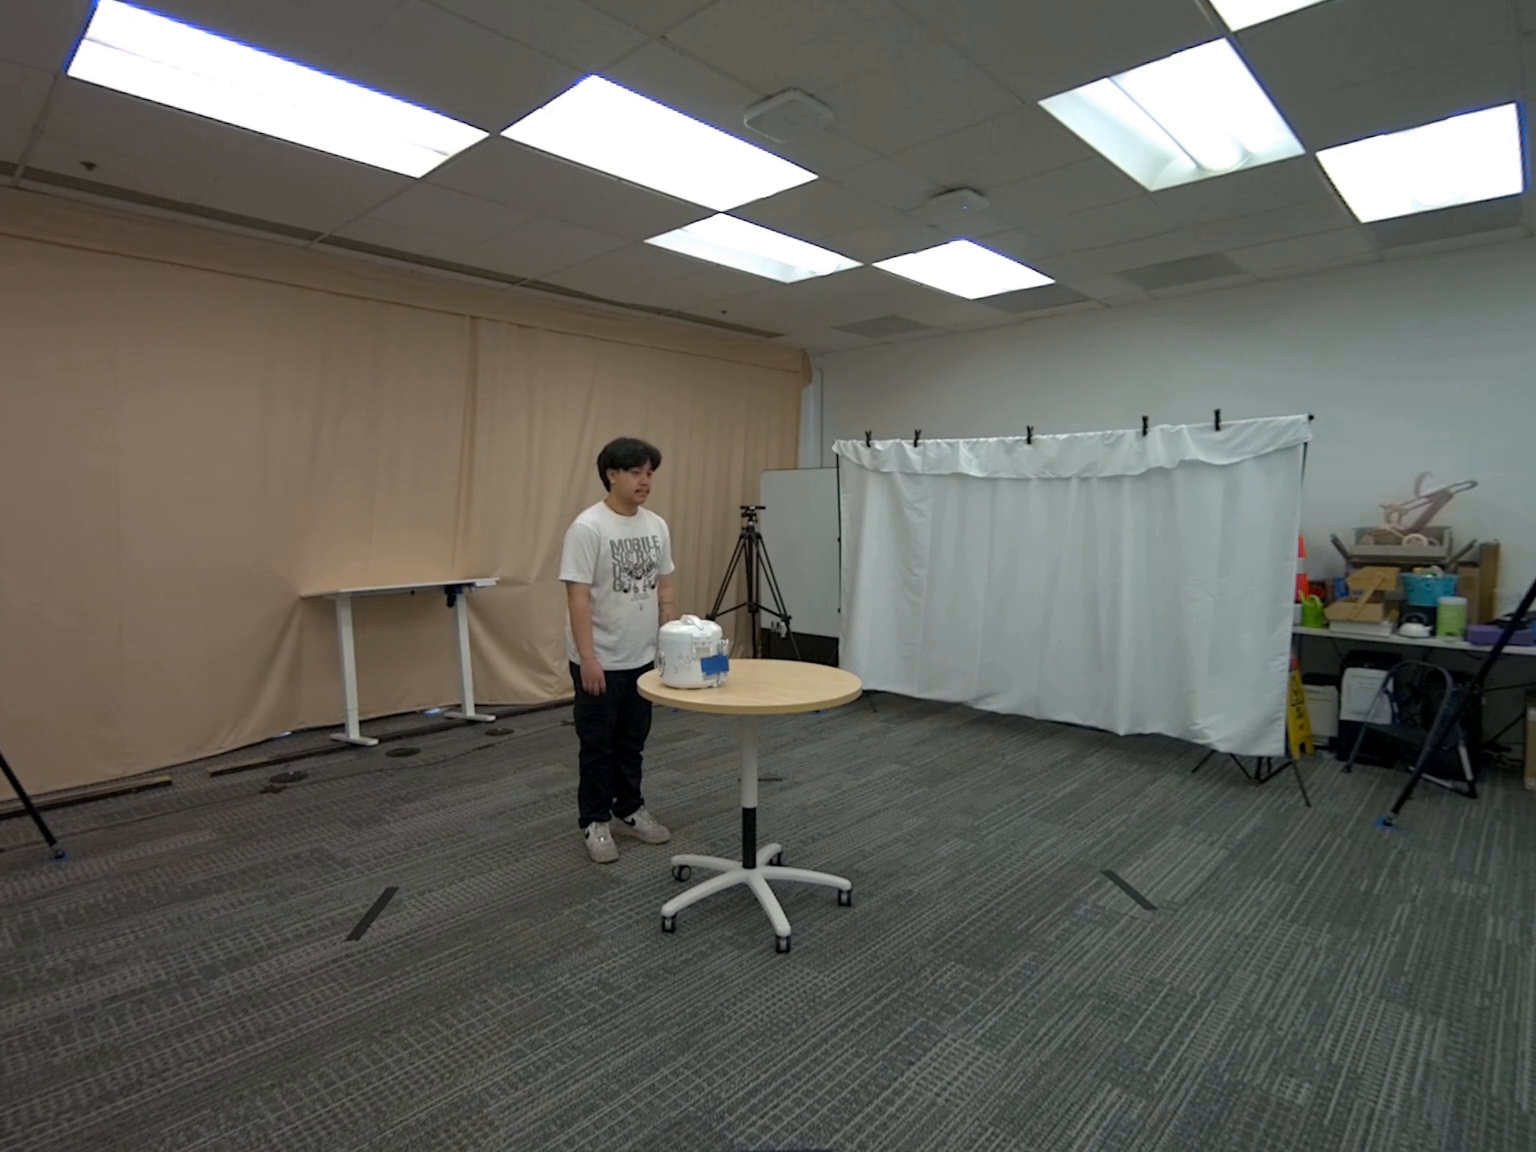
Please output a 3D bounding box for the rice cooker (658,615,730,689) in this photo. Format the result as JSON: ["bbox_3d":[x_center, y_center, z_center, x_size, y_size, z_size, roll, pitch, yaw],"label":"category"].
[{"bbox_3d":[-0.253,0.248,2.800,0.212,0.232,0.226,0,3,-23],"label":"rice cooker"}]
